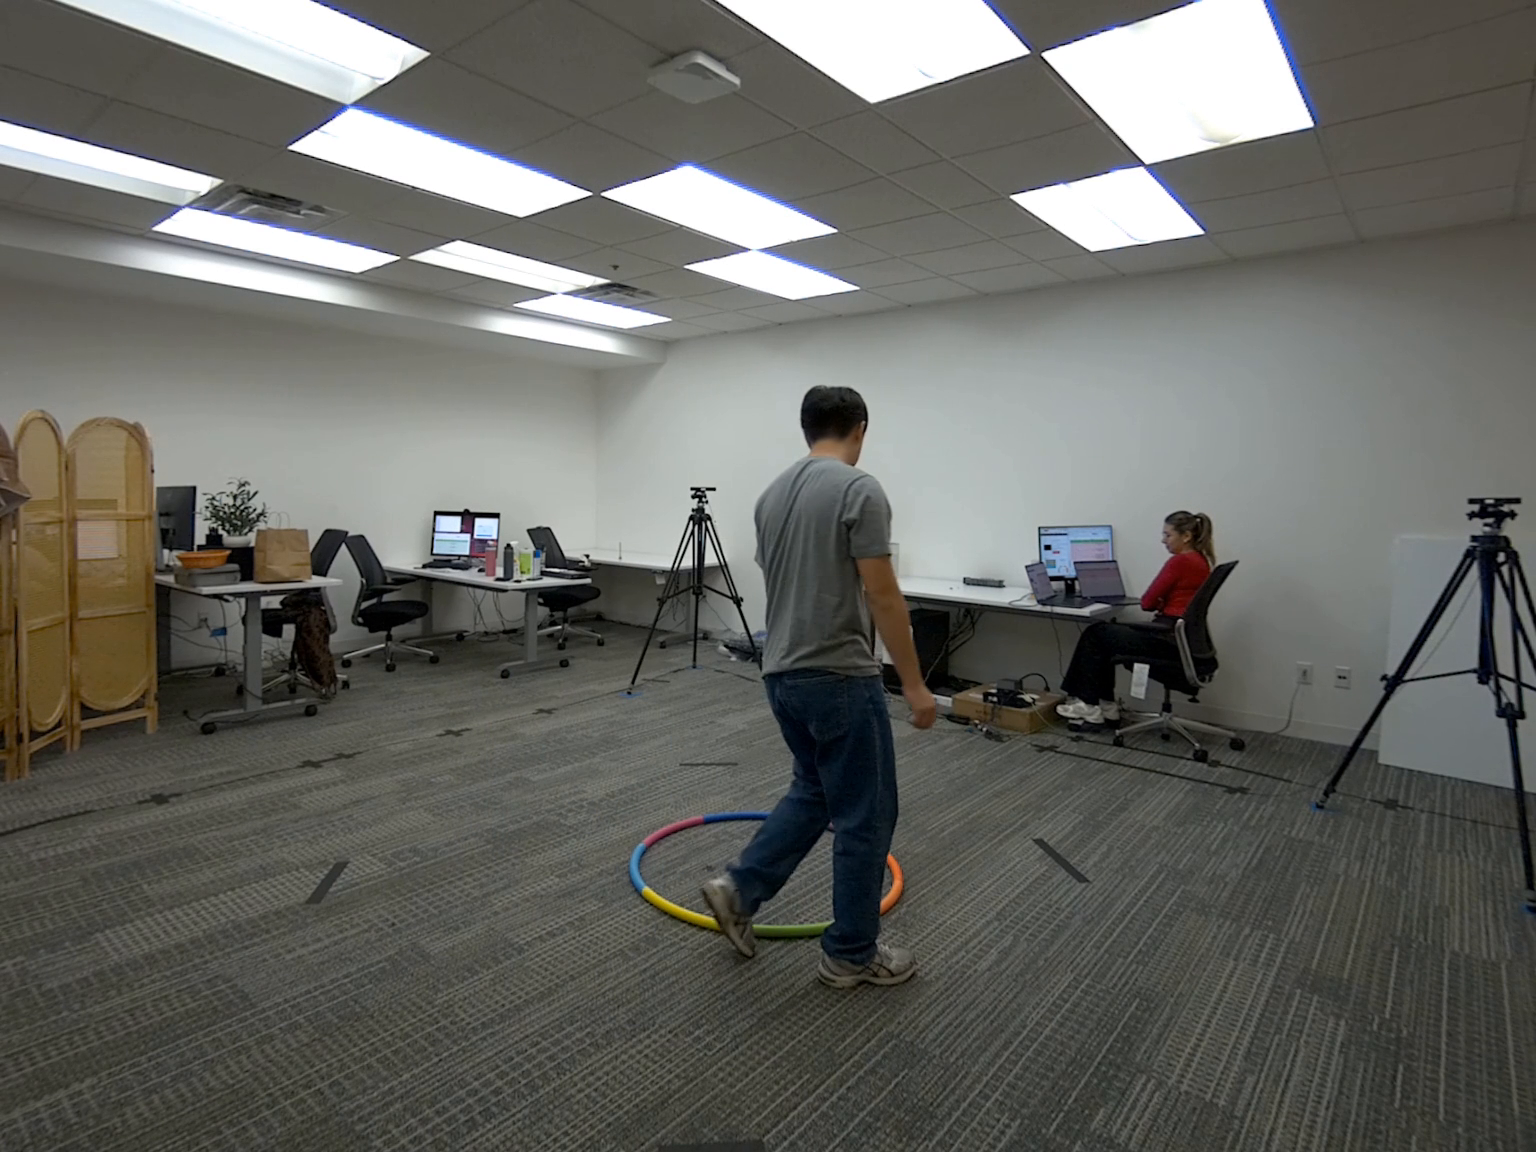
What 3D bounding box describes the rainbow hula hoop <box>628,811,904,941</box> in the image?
[{"bbox_3d":[-0.018,1.040,3.102,0.978,0.035,0.984,1,6,-2],"label":"rainbow hula hoop"}]
